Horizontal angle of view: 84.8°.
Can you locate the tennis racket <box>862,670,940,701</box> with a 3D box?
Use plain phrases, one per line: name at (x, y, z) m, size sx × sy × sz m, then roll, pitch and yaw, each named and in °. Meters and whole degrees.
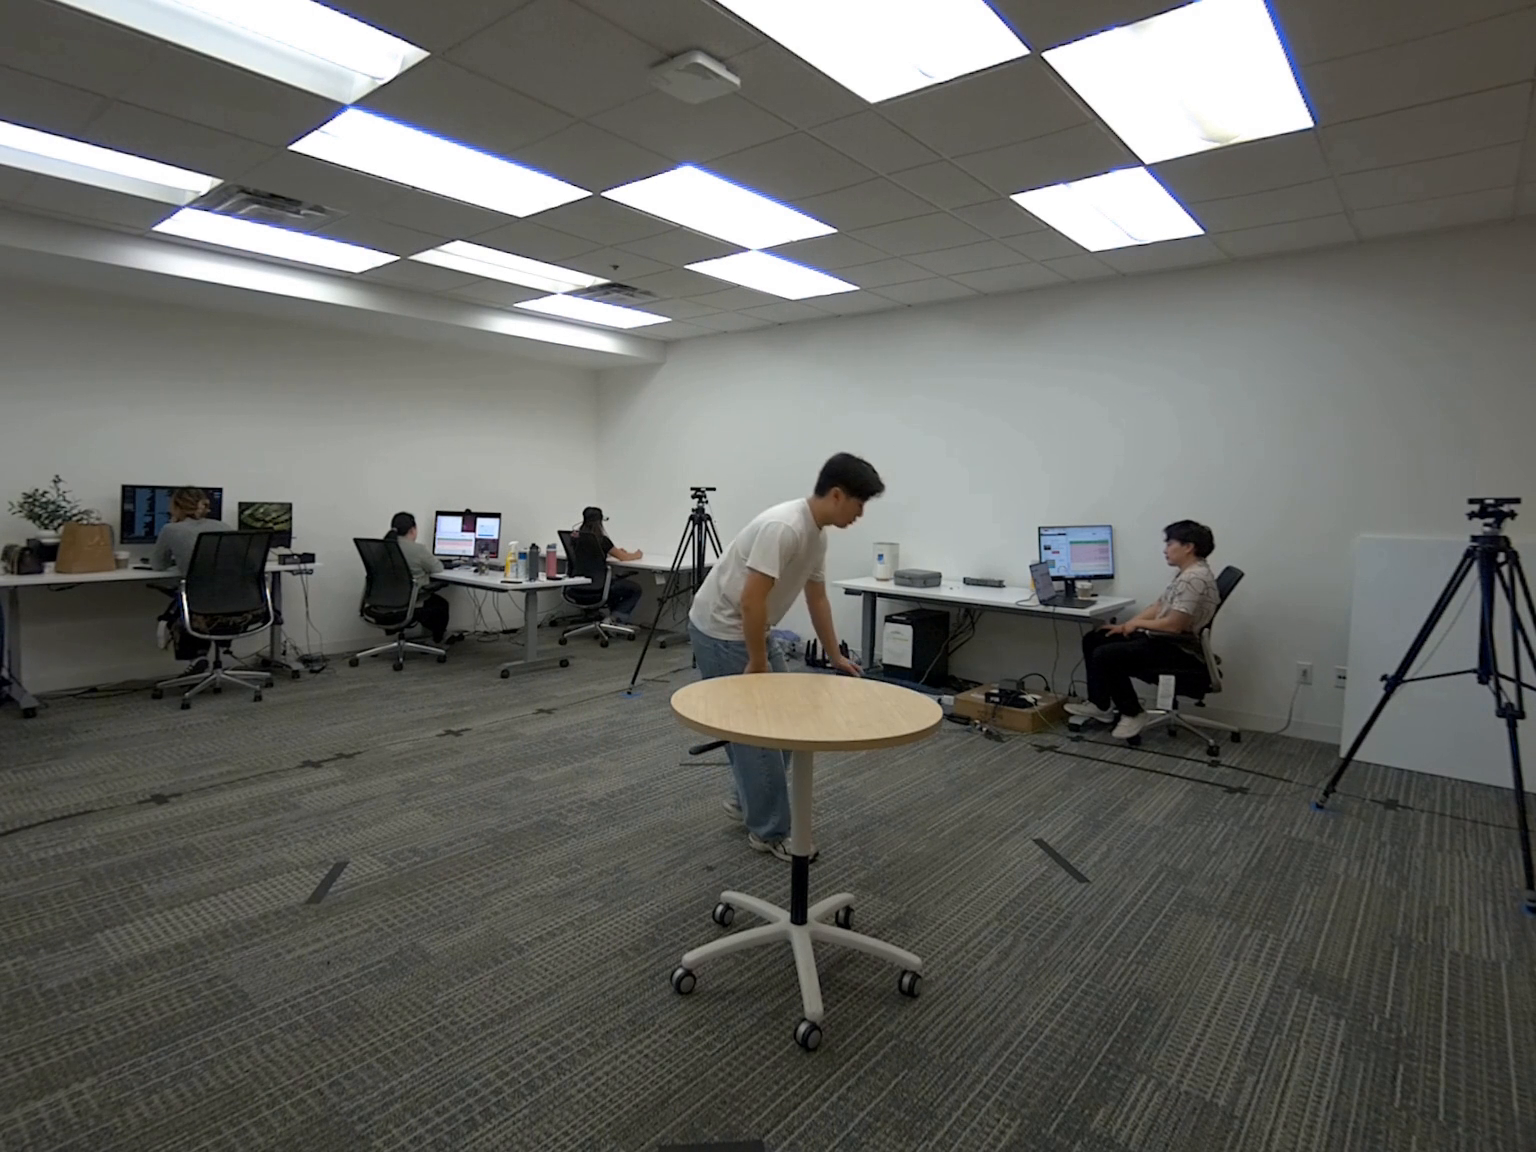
tennis racket at (0.469, 0.430, 3.372) m, size 0.444 × 0.032 × 0.207 m, roll 8°, pitch -7°, yaw 22°
